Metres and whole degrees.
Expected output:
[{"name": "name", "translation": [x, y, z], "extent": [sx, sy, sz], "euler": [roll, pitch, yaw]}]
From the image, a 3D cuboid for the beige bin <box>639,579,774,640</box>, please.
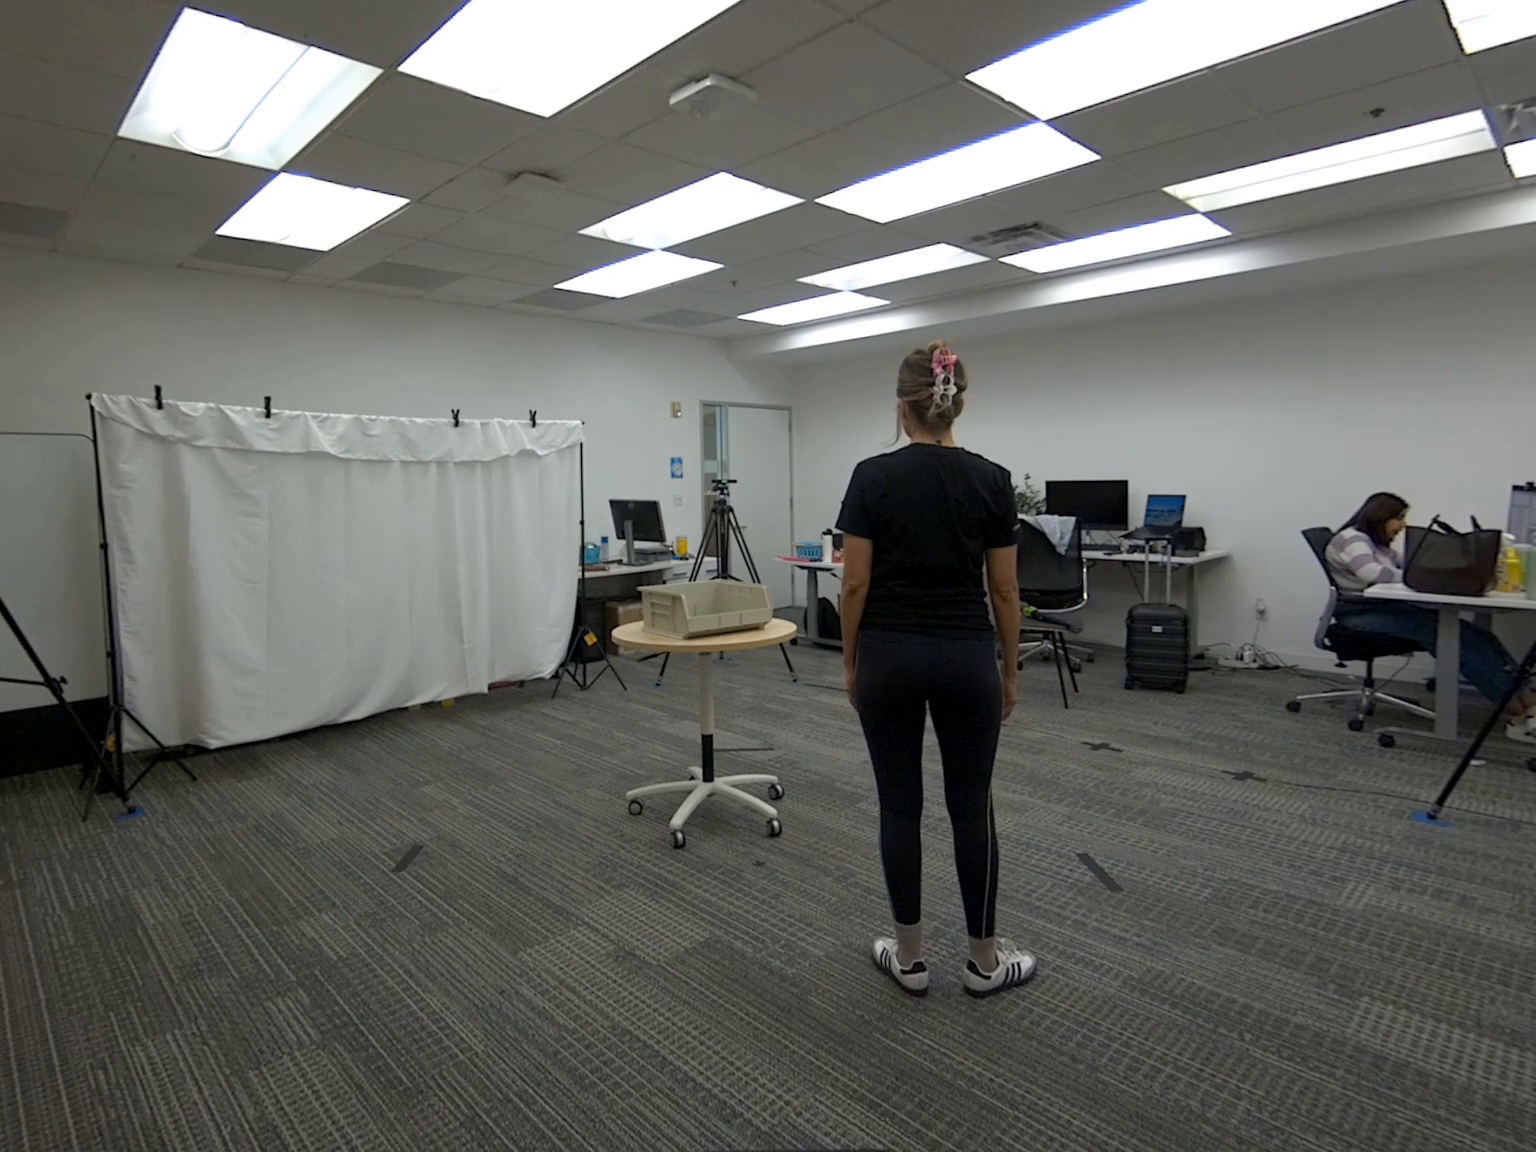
[{"name": "beige bin", "translation": [-0.260, 0.137, 3.514], "extent": [0.412, 0.188, 0.388], "euler": [-6, 6, -37]}]
